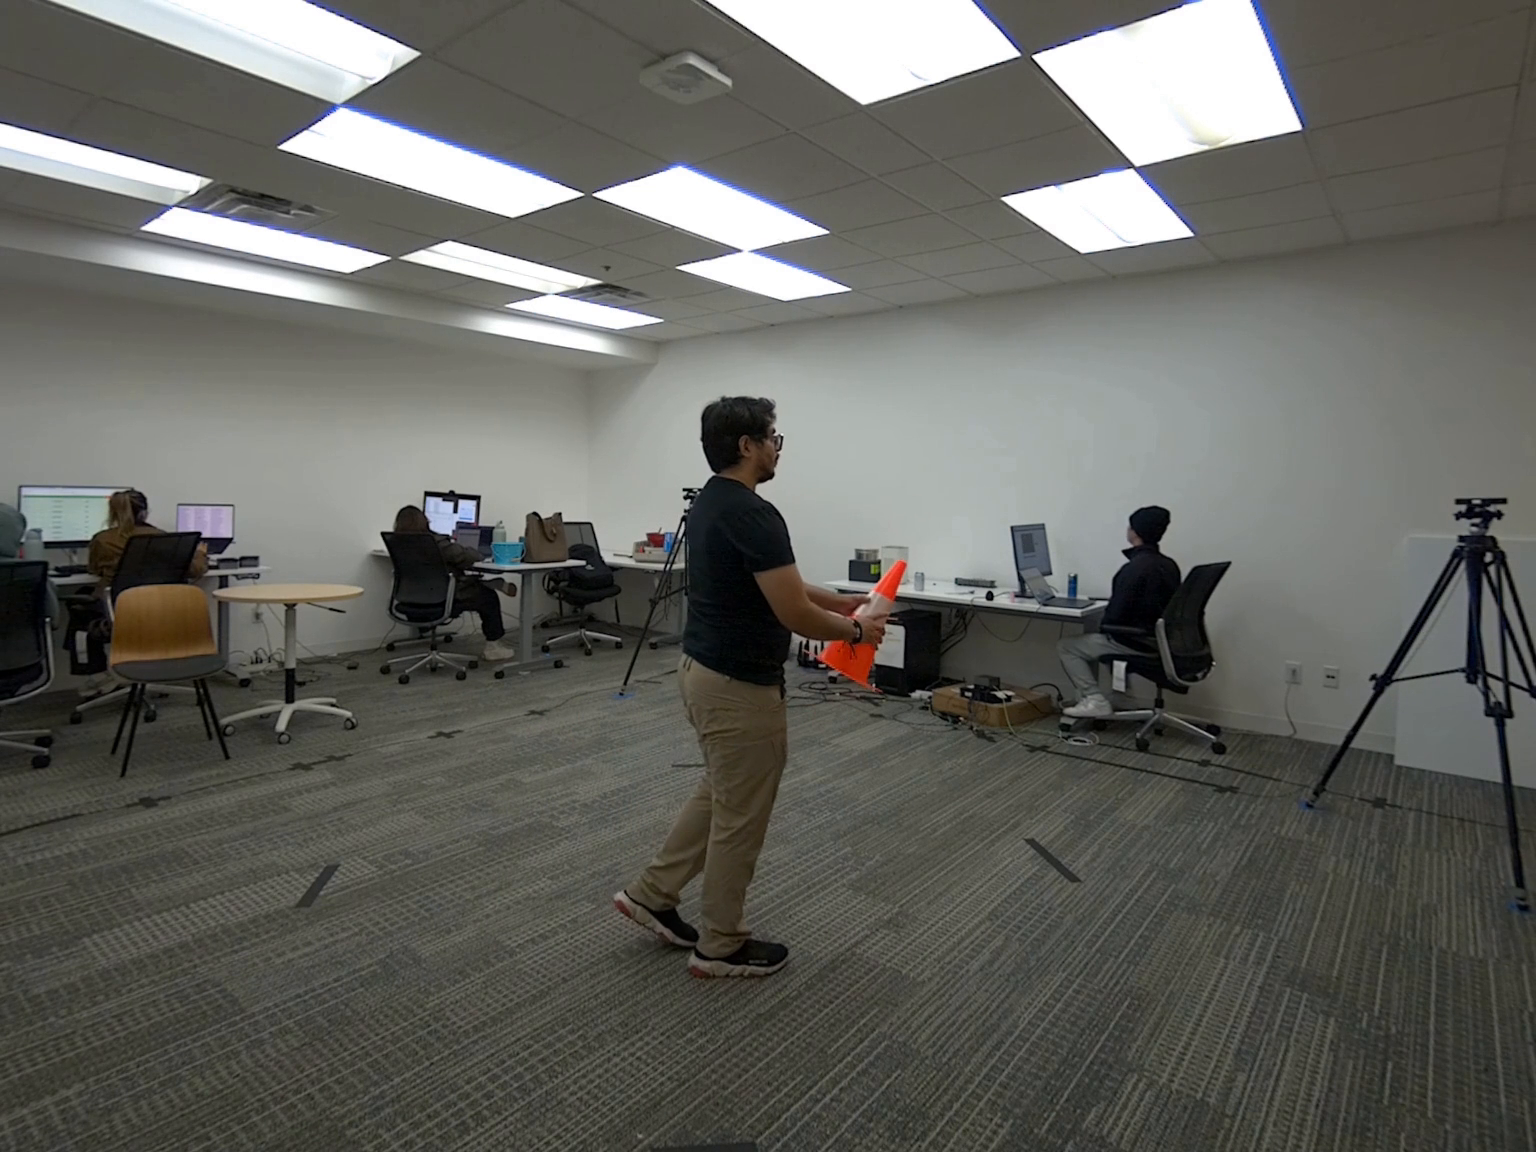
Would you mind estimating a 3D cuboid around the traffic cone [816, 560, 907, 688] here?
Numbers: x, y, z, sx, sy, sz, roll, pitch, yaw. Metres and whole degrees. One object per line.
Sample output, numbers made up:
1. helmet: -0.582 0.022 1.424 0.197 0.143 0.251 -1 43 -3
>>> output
1. traffic cone: 0.304 0.128 2.534 0.199 0.384 0.209 32 -3 -24
